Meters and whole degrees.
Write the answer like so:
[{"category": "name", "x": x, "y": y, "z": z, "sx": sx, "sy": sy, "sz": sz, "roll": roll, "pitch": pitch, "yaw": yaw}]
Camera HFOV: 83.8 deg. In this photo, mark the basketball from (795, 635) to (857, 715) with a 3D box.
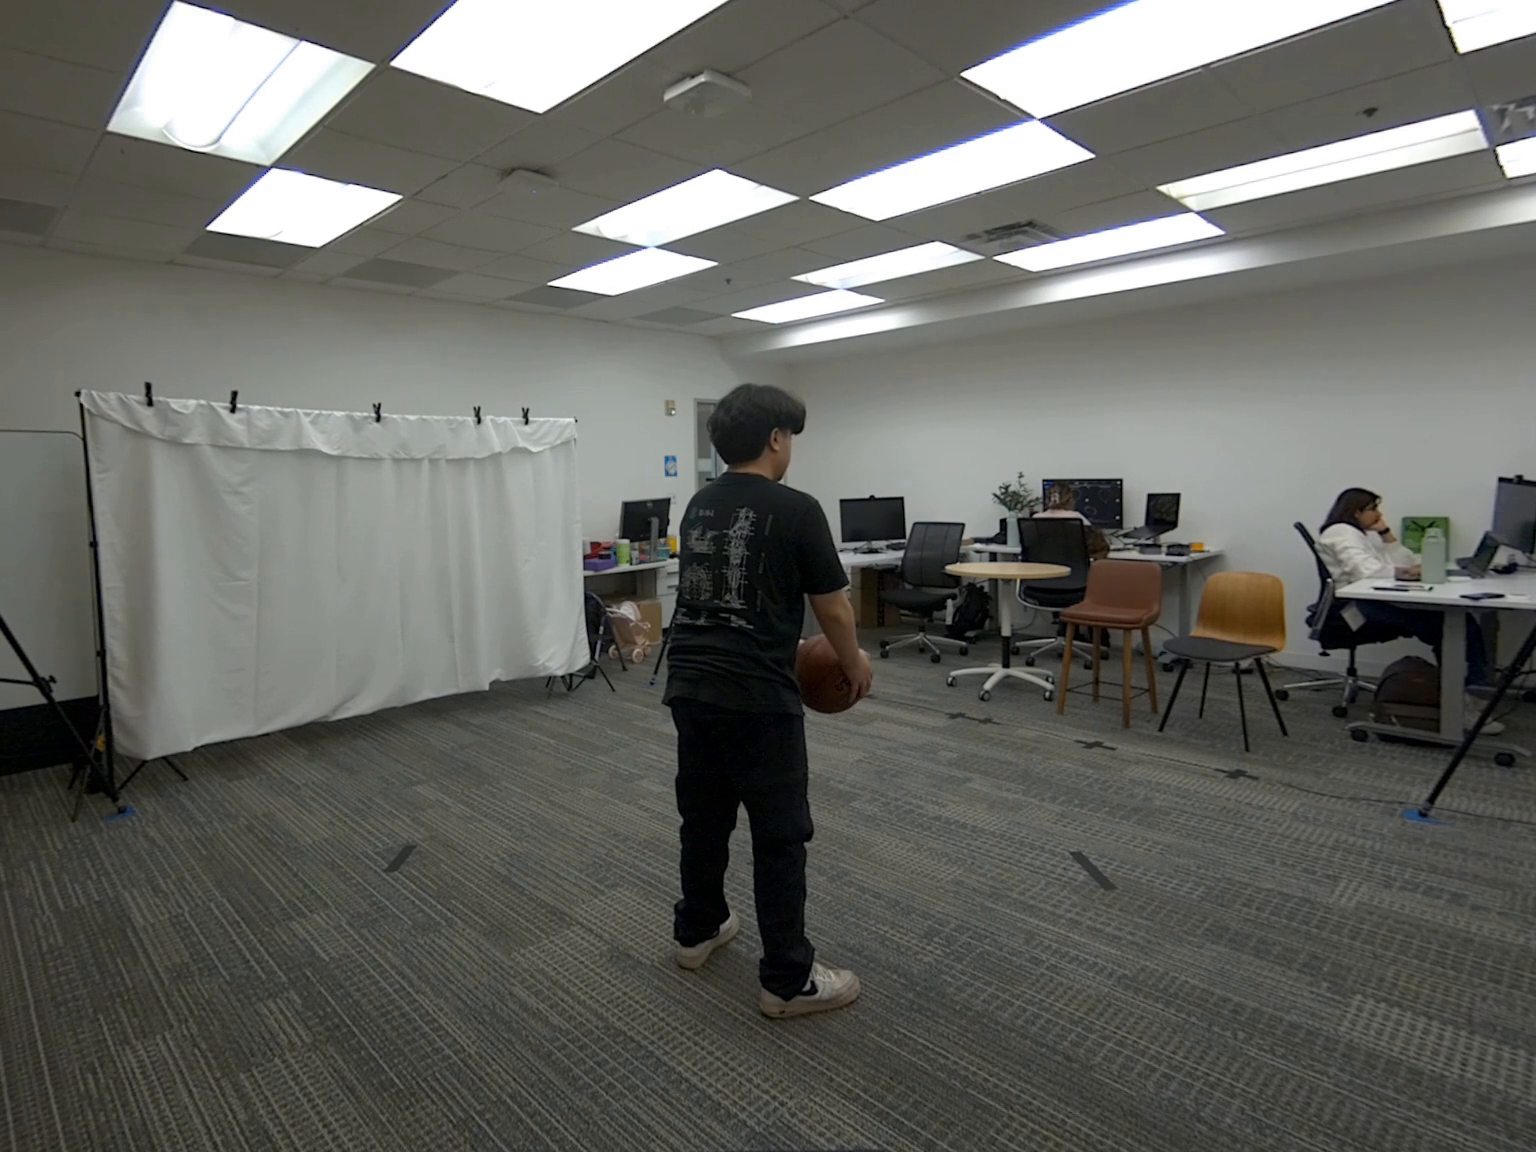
[{"category": "basketball", "x": 0.188, "y": 0.288, "z": 2.576, "sx": 0.236, "sy": 0.235, "sz": 0.237, "roll": -1, "pitch": 5, "yaw": -2}]
